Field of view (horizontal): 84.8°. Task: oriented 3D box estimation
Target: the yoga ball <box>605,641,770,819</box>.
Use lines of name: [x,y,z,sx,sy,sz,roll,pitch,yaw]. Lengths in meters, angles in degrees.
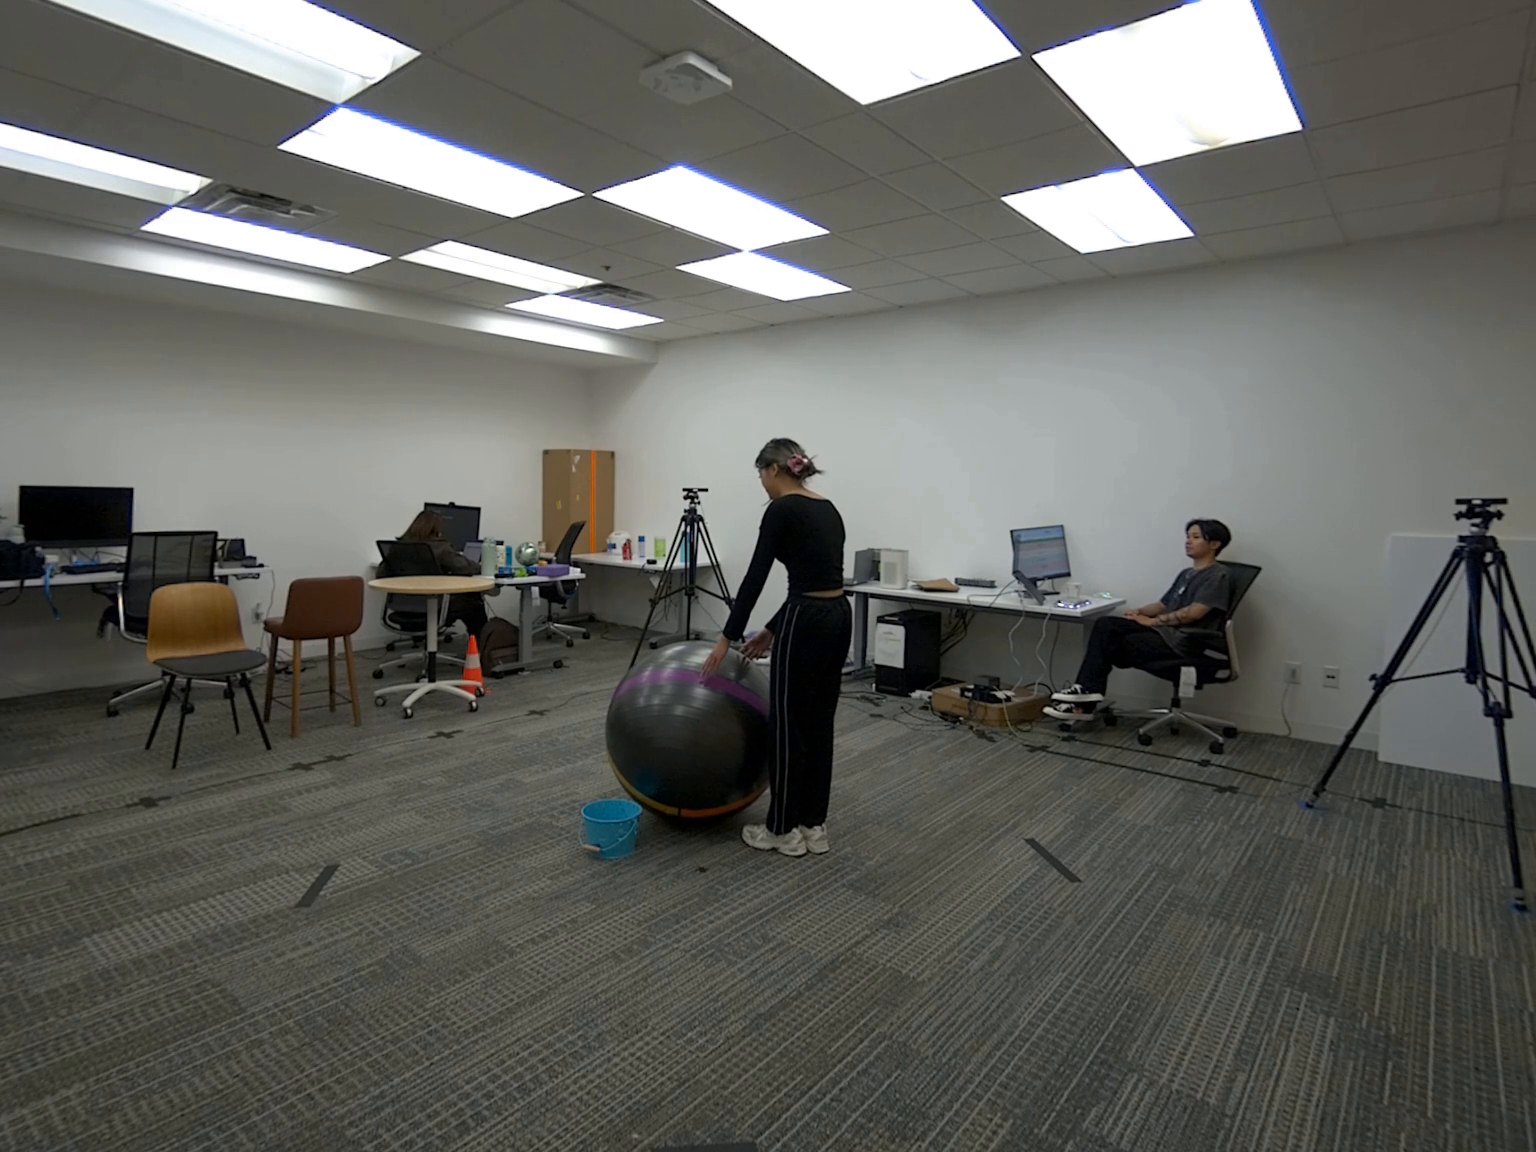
yoga ball: [-0.326,0.666,3.608,0.757,0.755,0.762,1,4,-2]
